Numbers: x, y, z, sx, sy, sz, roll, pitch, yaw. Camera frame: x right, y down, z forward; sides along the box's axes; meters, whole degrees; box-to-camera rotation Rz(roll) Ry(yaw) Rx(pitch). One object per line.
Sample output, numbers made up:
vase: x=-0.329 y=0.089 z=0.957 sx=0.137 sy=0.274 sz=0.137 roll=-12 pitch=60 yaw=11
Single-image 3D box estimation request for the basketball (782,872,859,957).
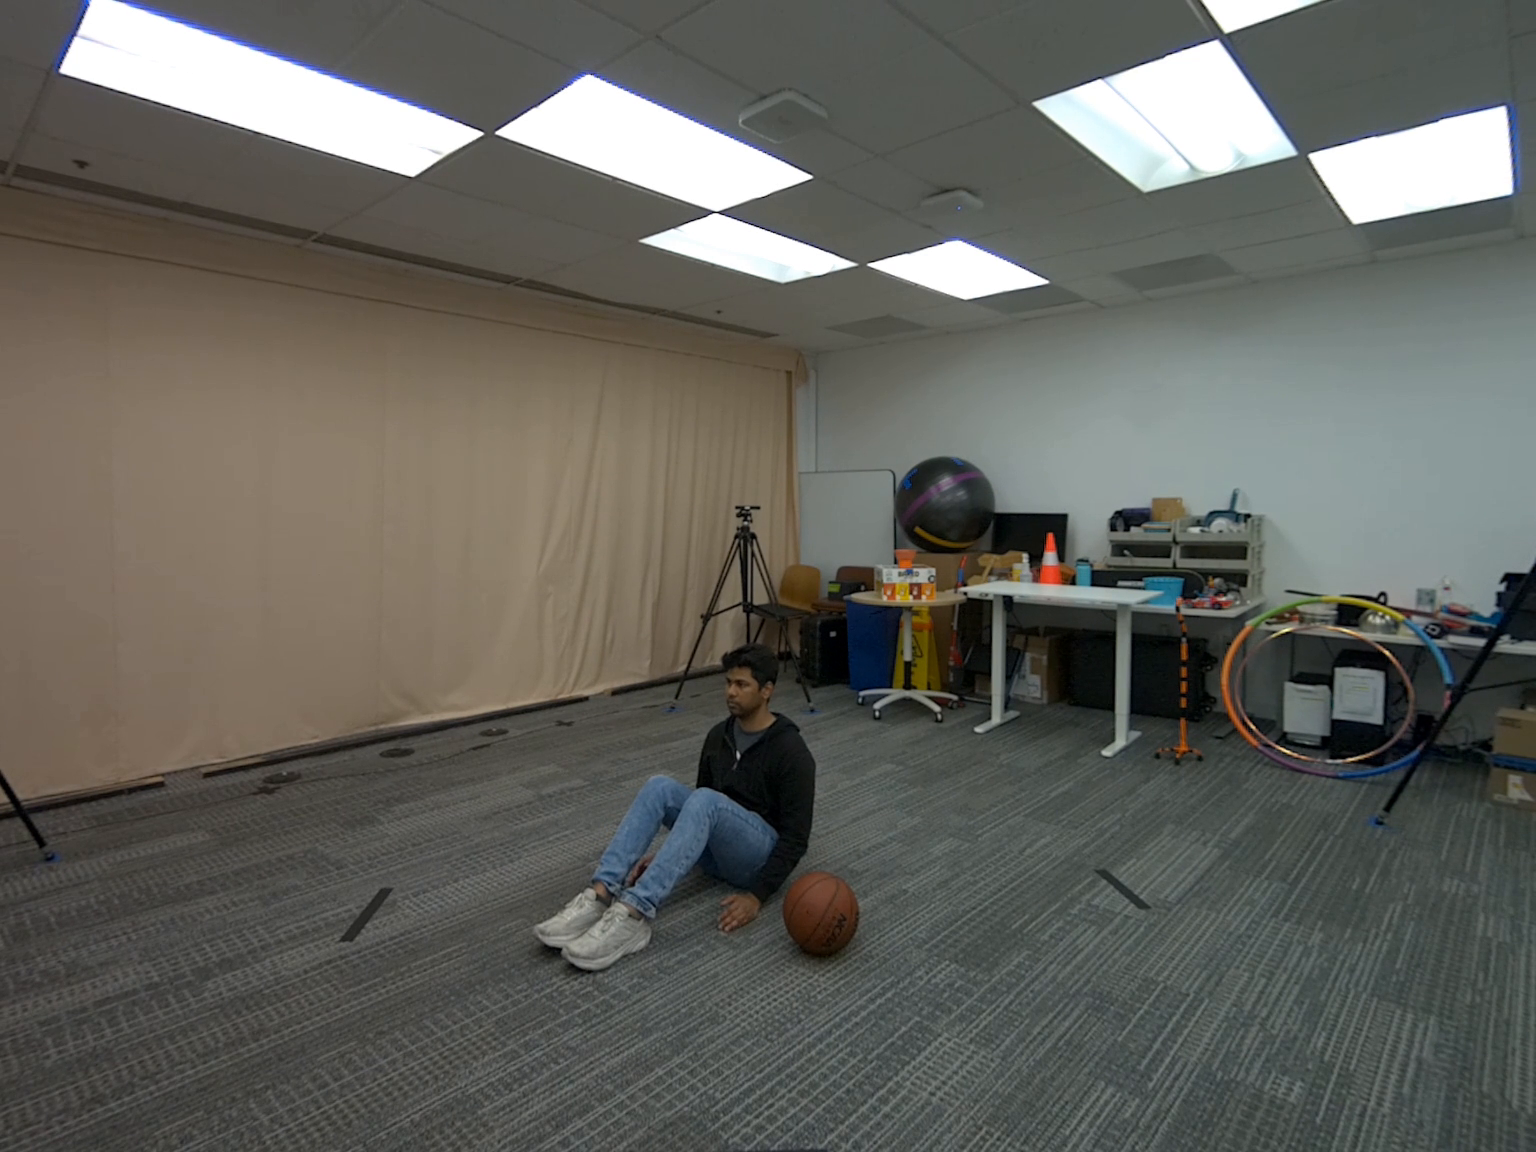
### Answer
basketball: x=0.170 y=1.048 z=2.638 sx=0.236 sy=0.235 sz=0.237 roll=0 pitch=4 yaw=-2
